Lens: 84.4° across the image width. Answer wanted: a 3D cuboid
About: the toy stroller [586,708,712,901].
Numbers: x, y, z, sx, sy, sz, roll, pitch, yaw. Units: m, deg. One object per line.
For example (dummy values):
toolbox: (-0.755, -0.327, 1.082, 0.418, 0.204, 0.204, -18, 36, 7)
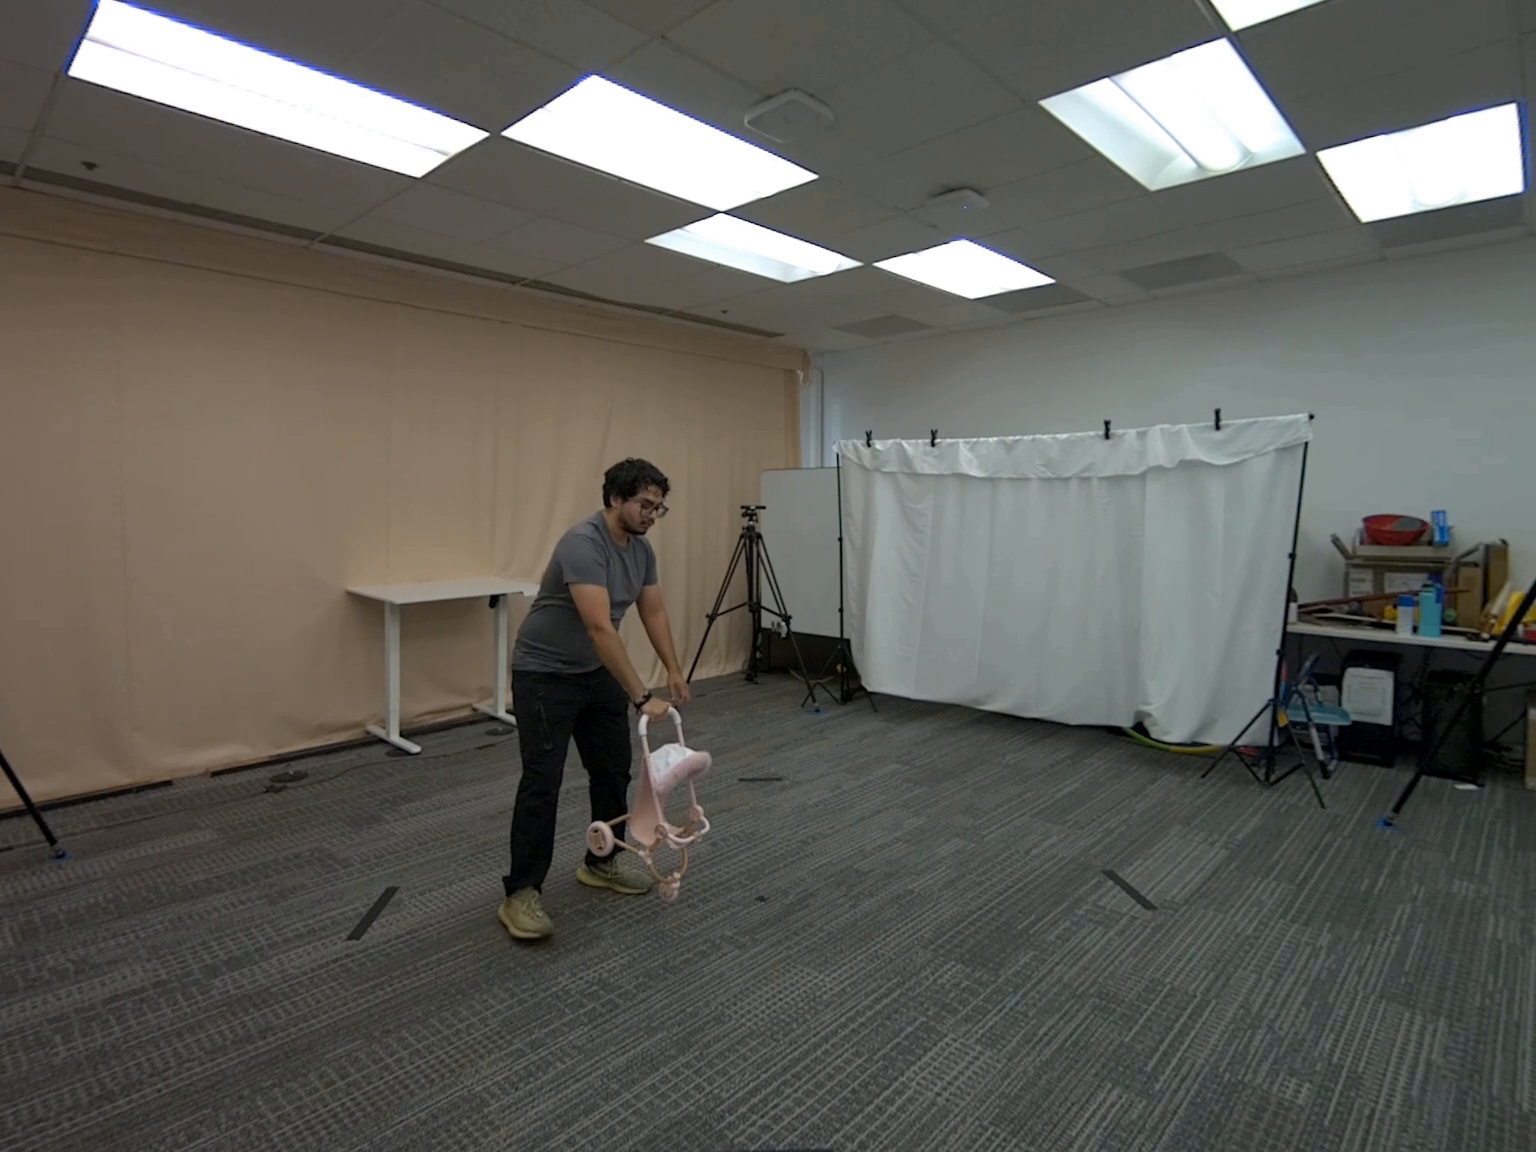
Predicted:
toy stroller: (-0.336, 0.750, 2.711, 0.353, 0.533, 0.273, 30, 16, 31)
